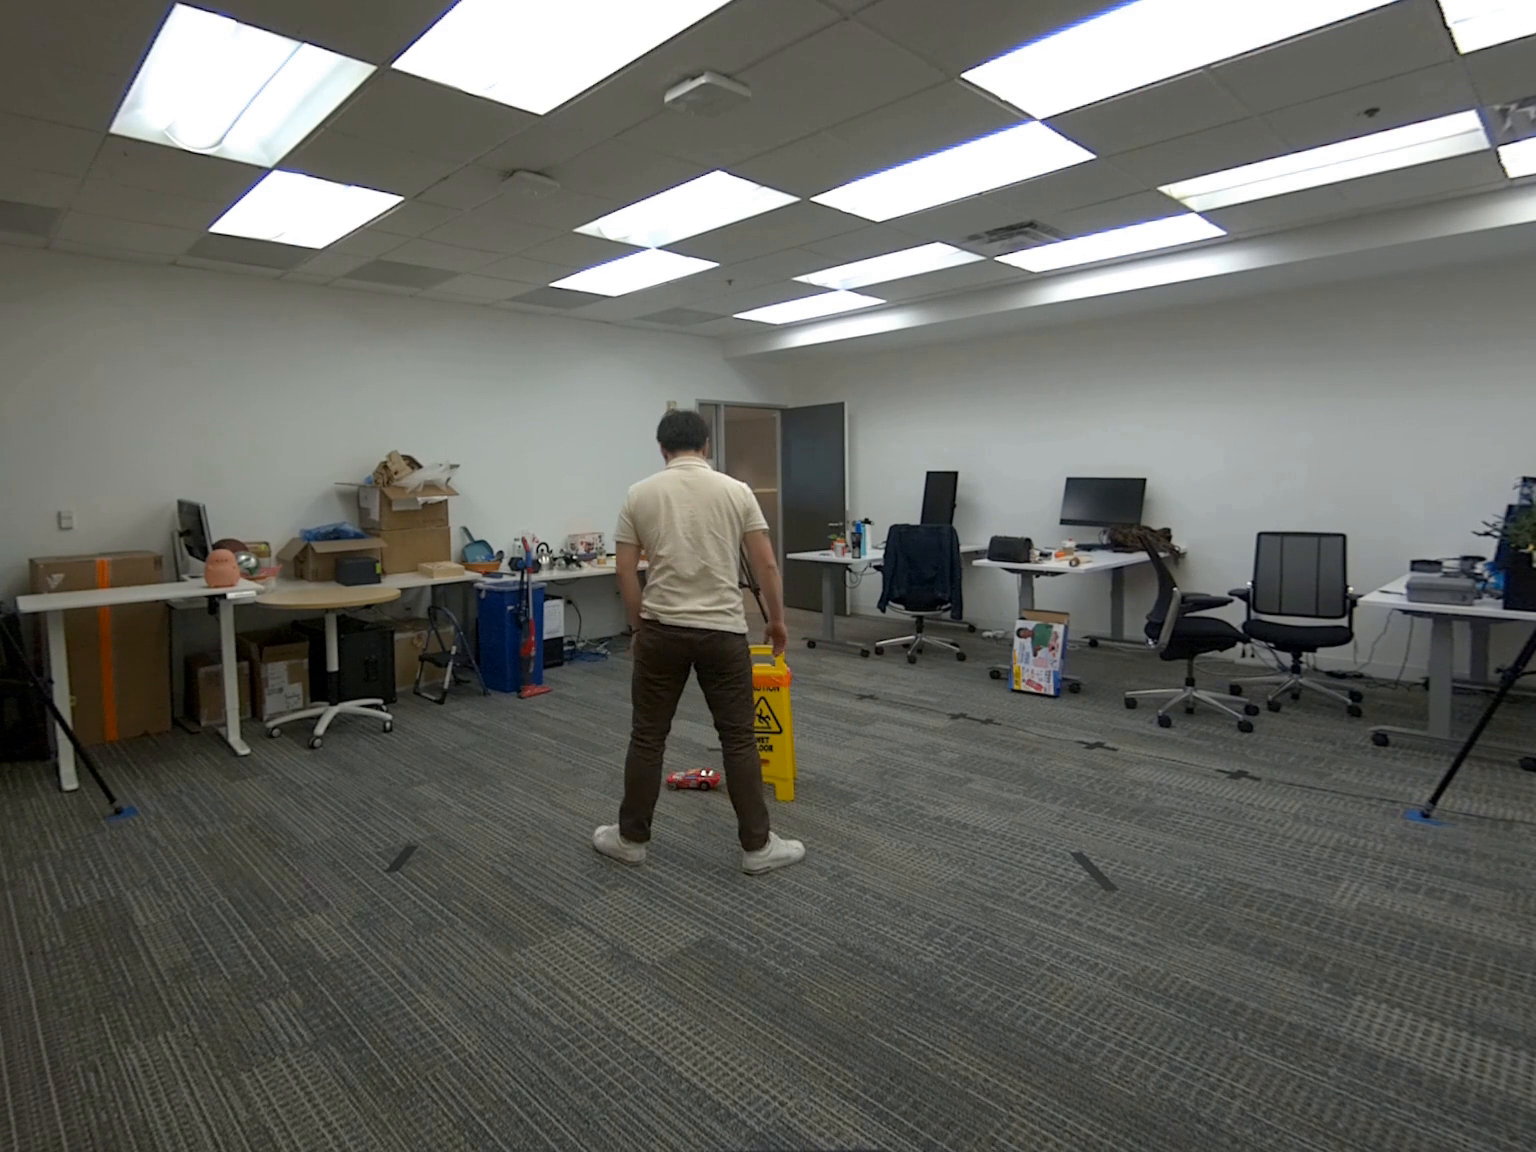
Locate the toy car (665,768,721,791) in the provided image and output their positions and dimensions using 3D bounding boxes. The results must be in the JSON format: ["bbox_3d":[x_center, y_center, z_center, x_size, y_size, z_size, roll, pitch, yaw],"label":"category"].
[{"bbox_3d":[-0.334,0.929,3.902,0.256,0.083,0.130,-11,3,6],"label":"toy car"}]
